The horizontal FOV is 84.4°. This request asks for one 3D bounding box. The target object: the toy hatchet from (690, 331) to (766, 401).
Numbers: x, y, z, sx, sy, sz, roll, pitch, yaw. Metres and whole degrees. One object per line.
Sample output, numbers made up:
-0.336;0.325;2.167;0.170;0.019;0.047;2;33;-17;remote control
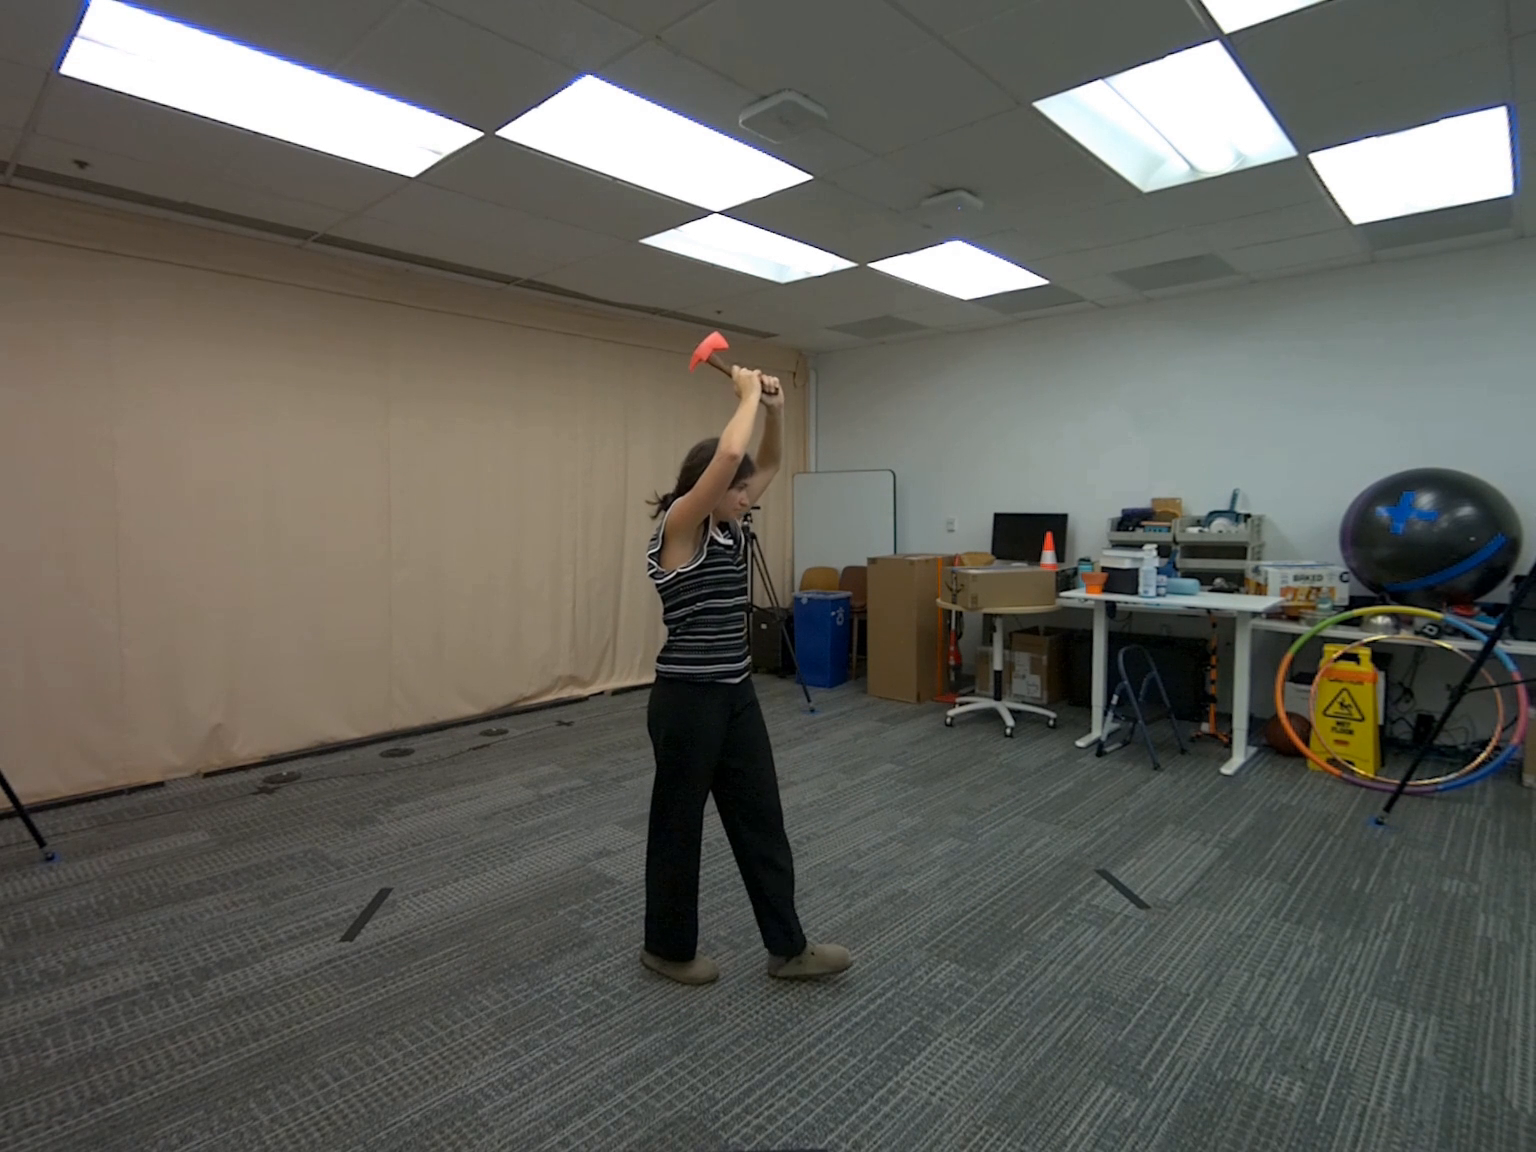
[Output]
-0.081;-0.613;2.400;0.271;0.131;0.029;17;-2;2;toy hatchet
